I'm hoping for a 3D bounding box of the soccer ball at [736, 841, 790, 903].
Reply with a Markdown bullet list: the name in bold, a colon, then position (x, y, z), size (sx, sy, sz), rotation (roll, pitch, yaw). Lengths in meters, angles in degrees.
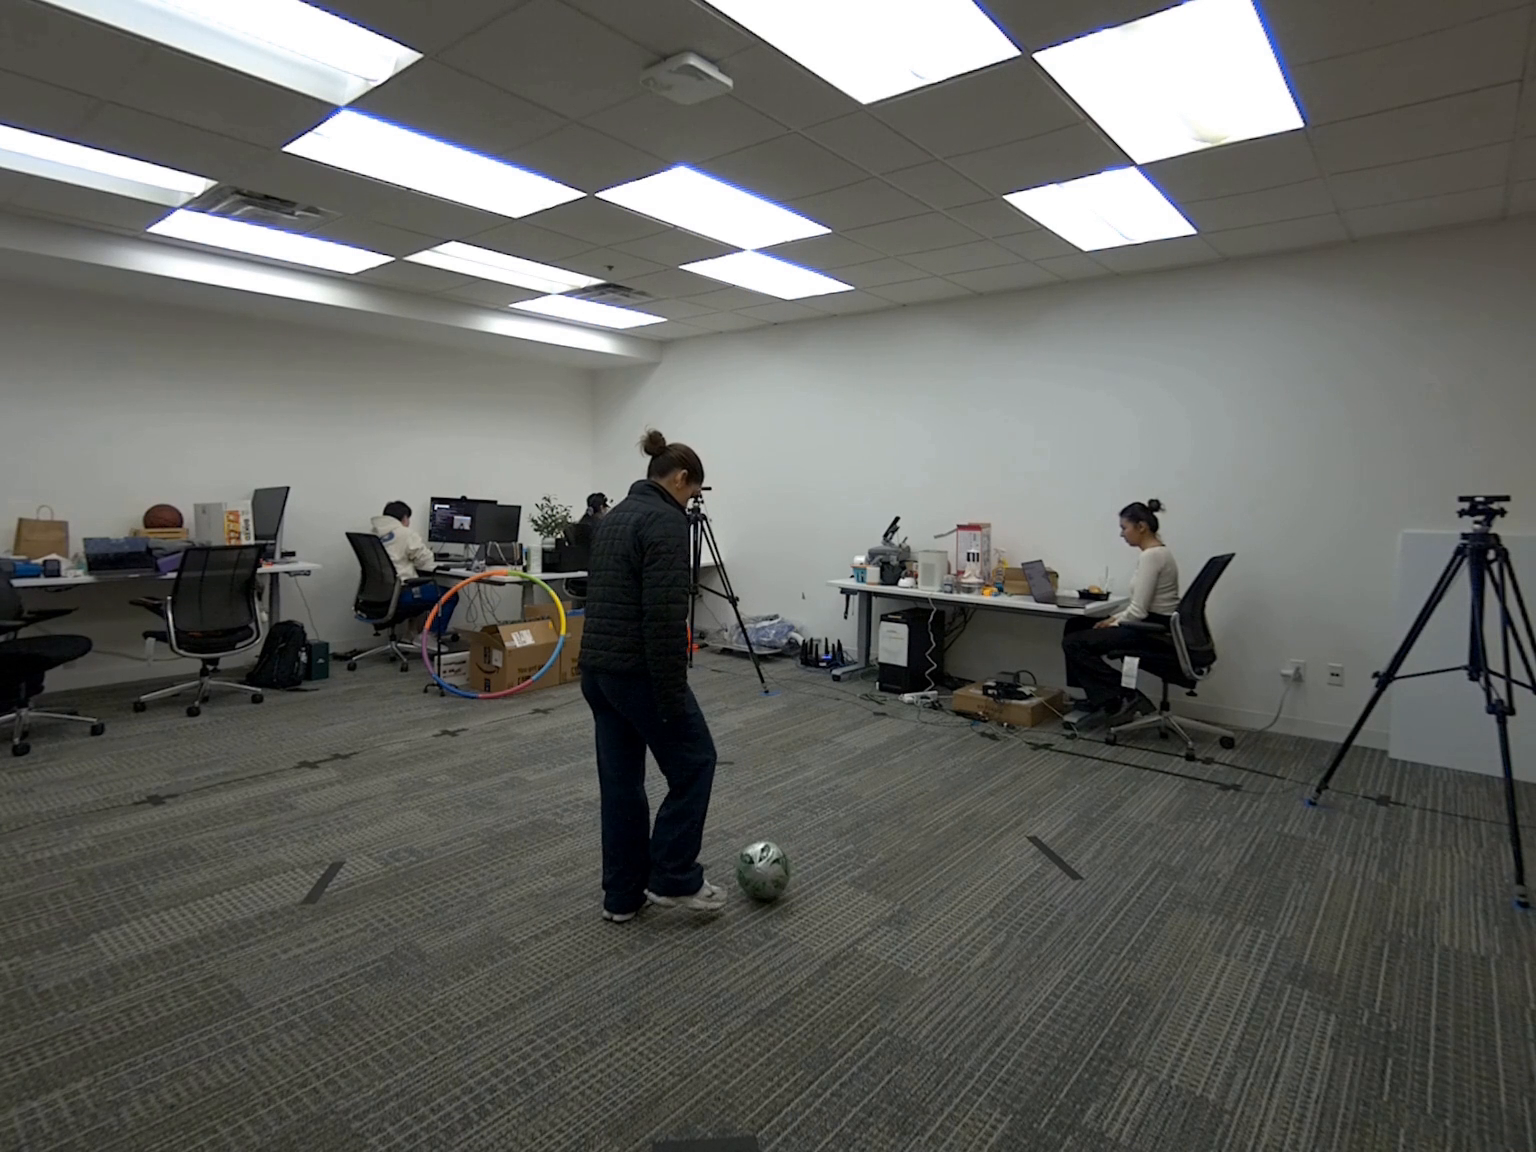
- **soccer ball**: position (-0.022, 0.999, 2.889), size (0.187, 0.187, 0.188), rotation (1, 4, -2)
